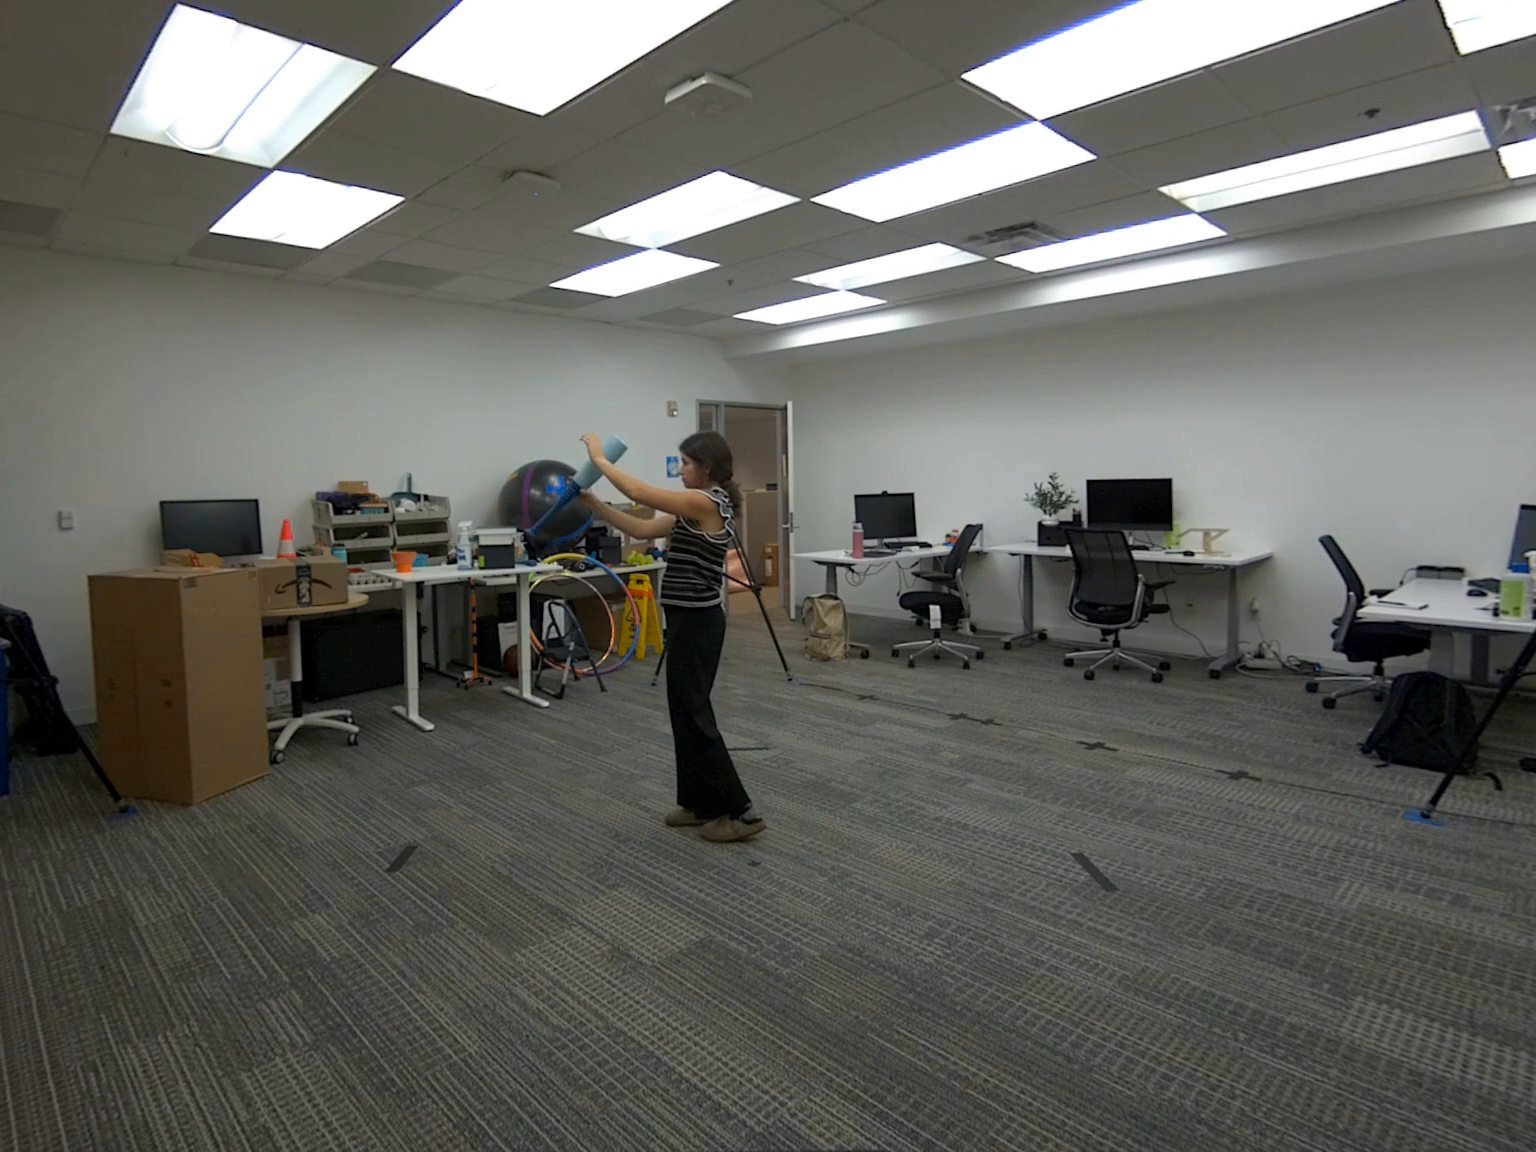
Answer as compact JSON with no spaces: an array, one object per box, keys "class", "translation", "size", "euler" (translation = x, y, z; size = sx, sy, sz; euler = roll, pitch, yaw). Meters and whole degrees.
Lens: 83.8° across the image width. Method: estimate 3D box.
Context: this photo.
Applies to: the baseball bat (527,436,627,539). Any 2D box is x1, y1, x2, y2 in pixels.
[{"class":"baseball bat","translation":[-0.773,-0.350,3.434],"size":[0.089,0.543,0.089],"euler":[43,-2,0]}]
